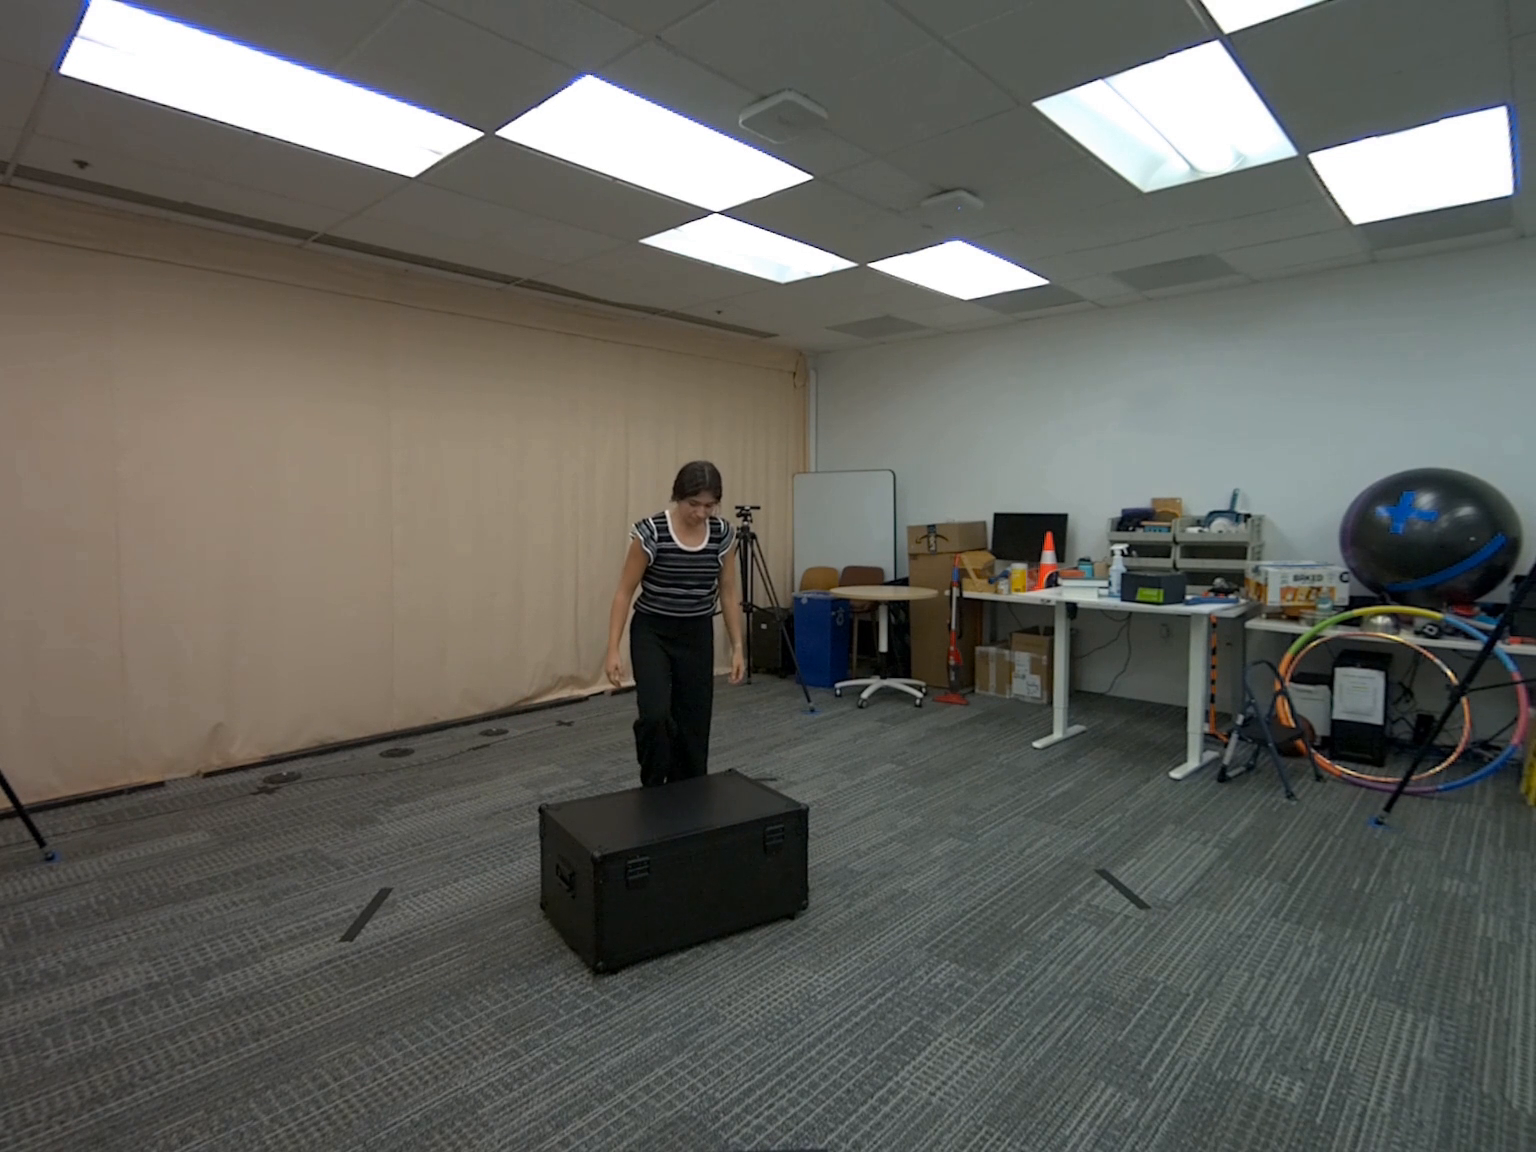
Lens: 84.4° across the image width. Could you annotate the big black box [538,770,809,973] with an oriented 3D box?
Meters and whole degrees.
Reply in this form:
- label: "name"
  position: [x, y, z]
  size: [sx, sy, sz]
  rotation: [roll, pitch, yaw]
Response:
- label: "big black box"
  position: [-0.289, 0.965, 2.871]
  size: [0.838, 0.395, 0.537]
  rotation: [-3, 5, -32]
